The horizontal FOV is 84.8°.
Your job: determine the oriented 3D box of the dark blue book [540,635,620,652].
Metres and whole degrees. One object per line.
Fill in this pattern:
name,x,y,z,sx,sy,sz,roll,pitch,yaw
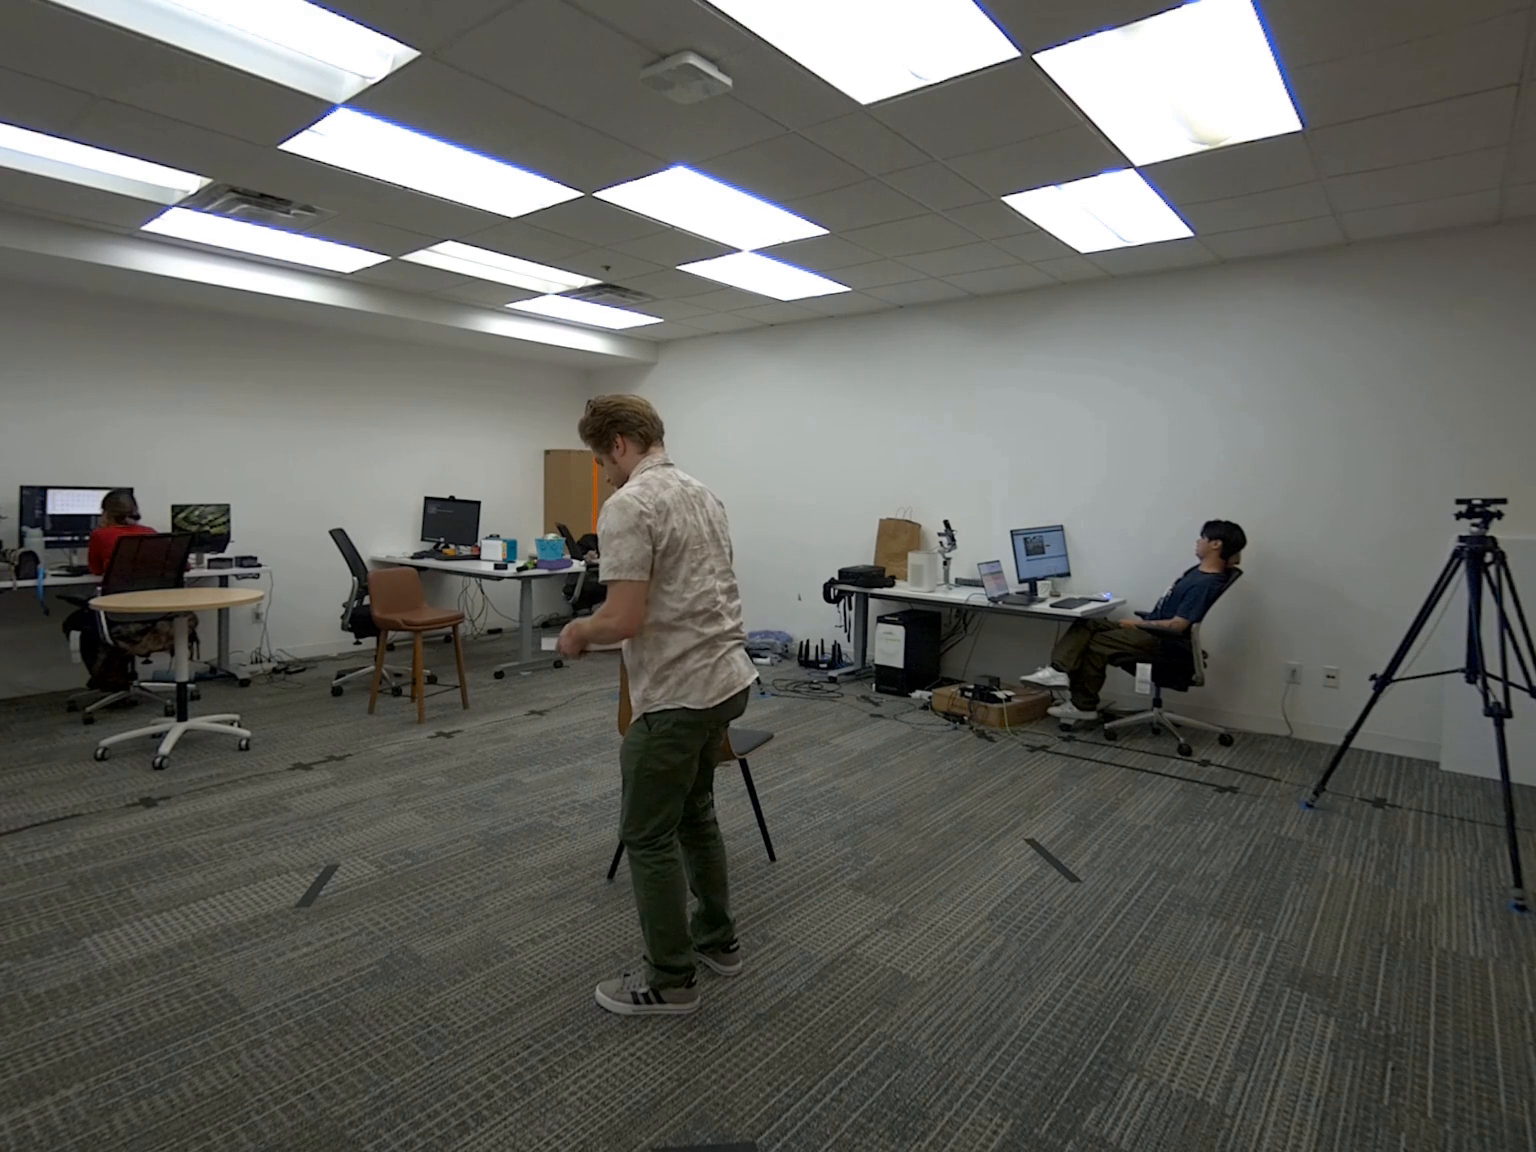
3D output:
dark blue book,-0.532,0.194,2.422,0.252,0.045,0.158,-3,-1,44
